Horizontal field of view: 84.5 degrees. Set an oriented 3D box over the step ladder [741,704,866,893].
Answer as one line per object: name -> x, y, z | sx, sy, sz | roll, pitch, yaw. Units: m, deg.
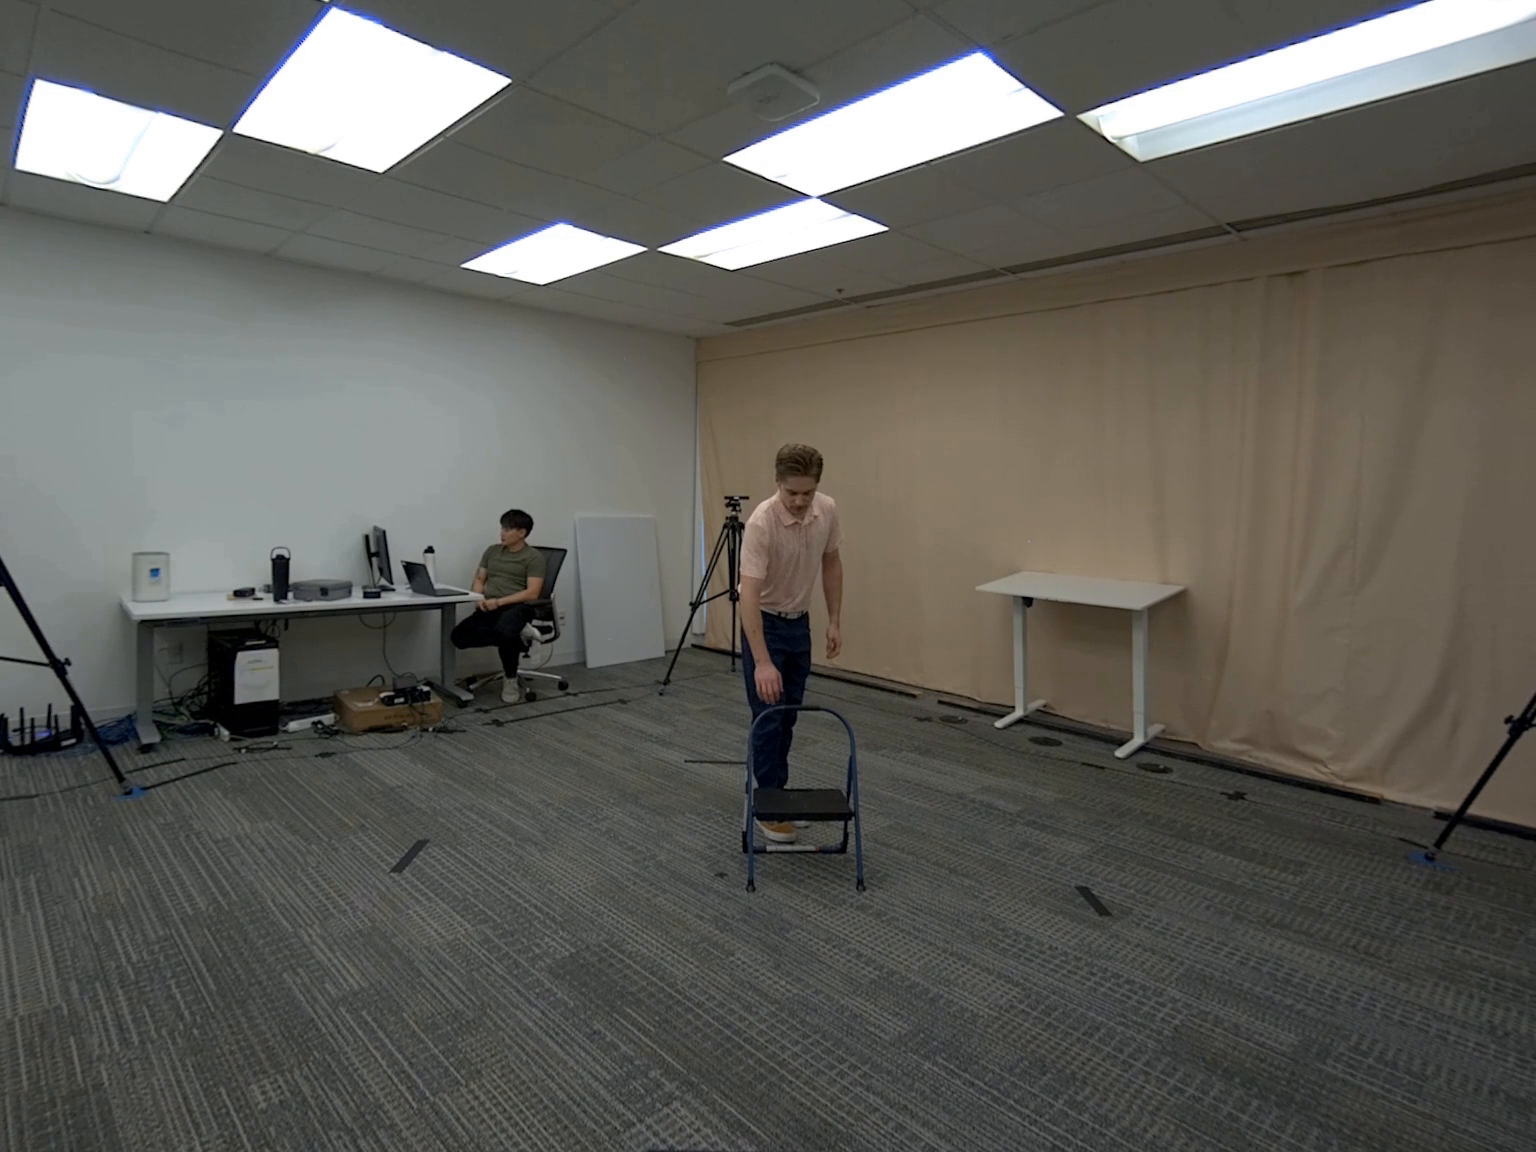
step ladder -> 0.123, 0.810, 3.149 | 0.429, 0.604, 0.352 | 1, 5, -5
